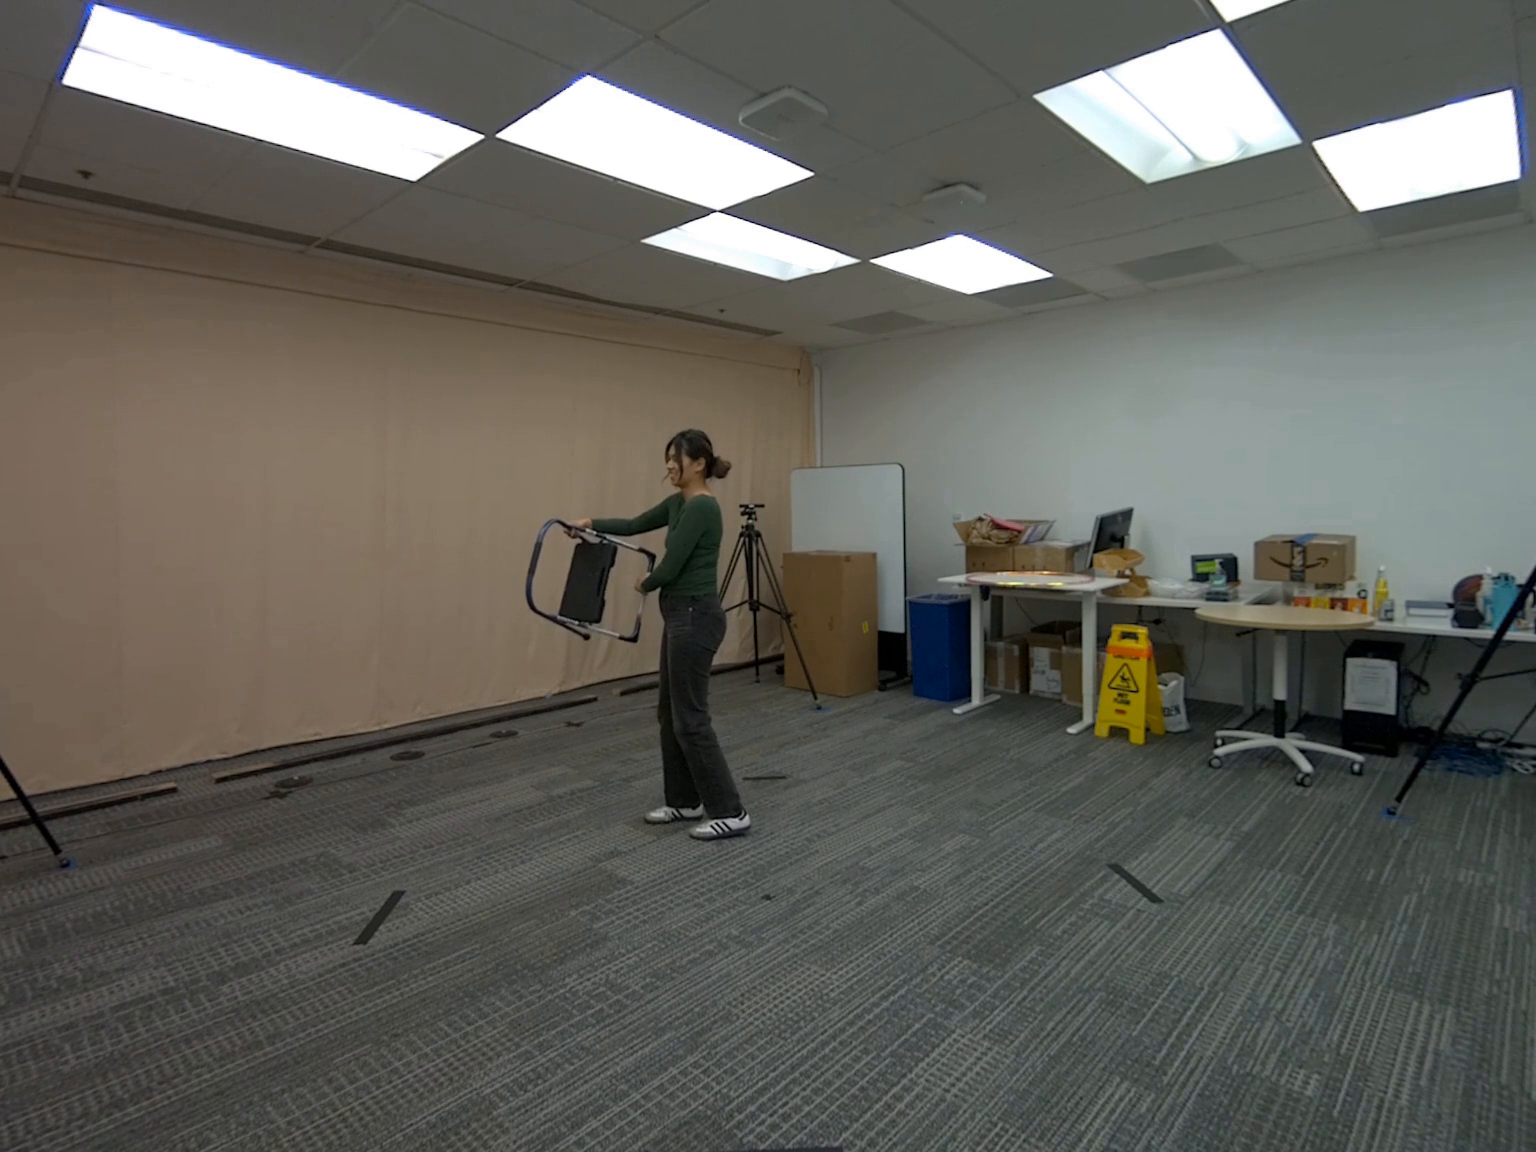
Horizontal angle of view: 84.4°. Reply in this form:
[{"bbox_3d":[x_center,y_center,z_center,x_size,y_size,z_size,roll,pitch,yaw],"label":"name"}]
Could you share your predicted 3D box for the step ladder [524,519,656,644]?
[{"bbox_3d":[-0.834,0.015,3.637,0.360,0.433,0.584,0,-16,36],"label":"step ladder"}]
